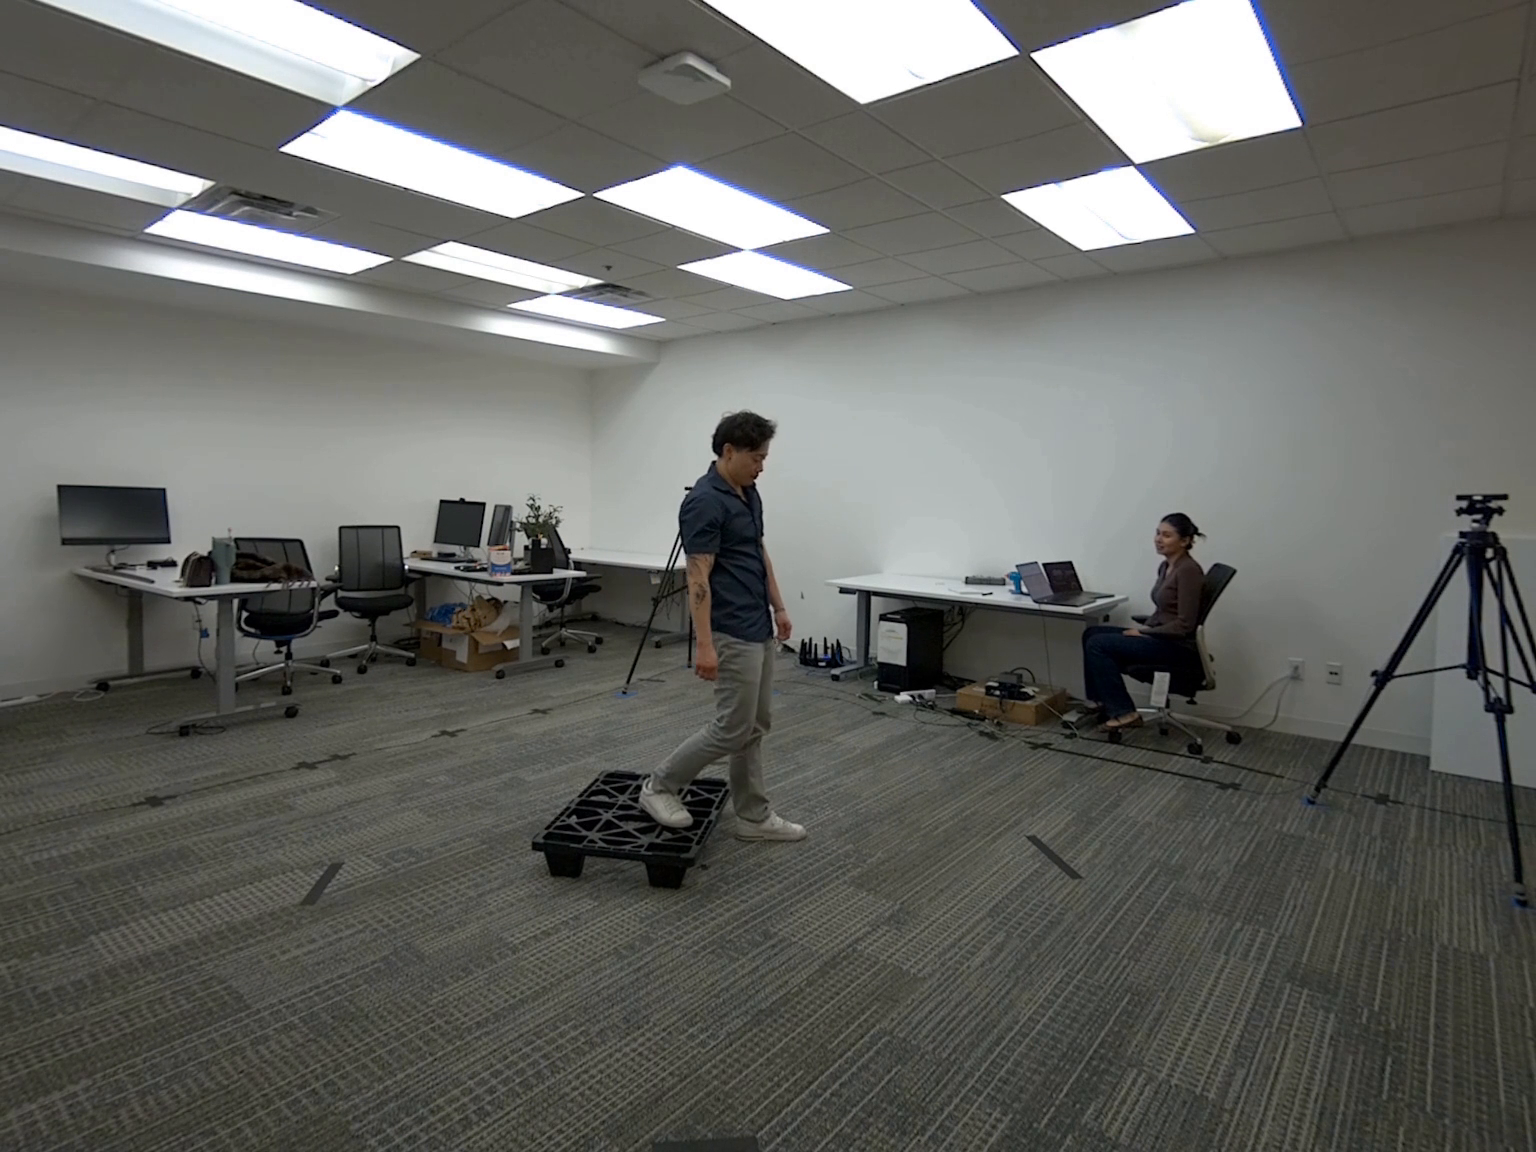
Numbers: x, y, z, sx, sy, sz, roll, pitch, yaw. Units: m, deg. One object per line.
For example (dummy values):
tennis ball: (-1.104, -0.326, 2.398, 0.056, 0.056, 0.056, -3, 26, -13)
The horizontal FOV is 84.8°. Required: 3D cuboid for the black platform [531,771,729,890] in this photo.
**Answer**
black platform: (-0.506, 0.972, 3.334, 0.612, 0.143, 0.800, 1, 6, 9)
